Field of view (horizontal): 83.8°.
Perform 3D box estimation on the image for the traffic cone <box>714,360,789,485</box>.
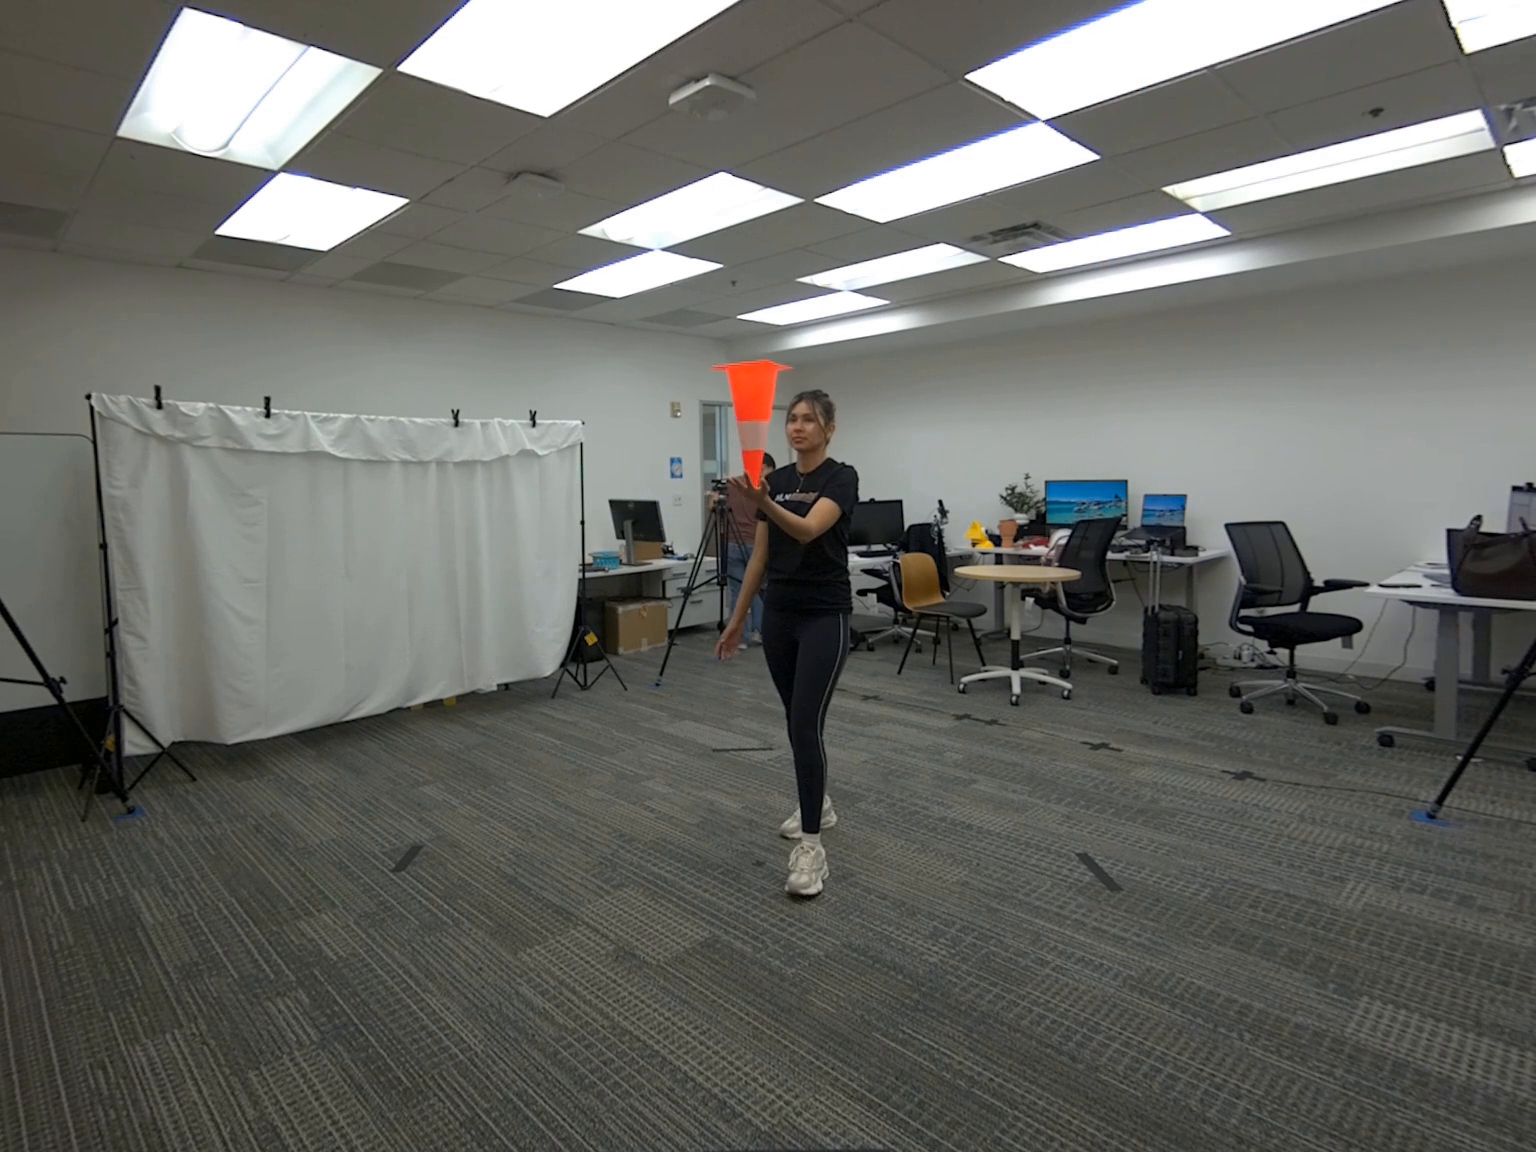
[{"bbox_3d":[-0.044,-0.458,2.647,0.209,0.382,0.200,2,5,30],"label":"traffic cone"}]
